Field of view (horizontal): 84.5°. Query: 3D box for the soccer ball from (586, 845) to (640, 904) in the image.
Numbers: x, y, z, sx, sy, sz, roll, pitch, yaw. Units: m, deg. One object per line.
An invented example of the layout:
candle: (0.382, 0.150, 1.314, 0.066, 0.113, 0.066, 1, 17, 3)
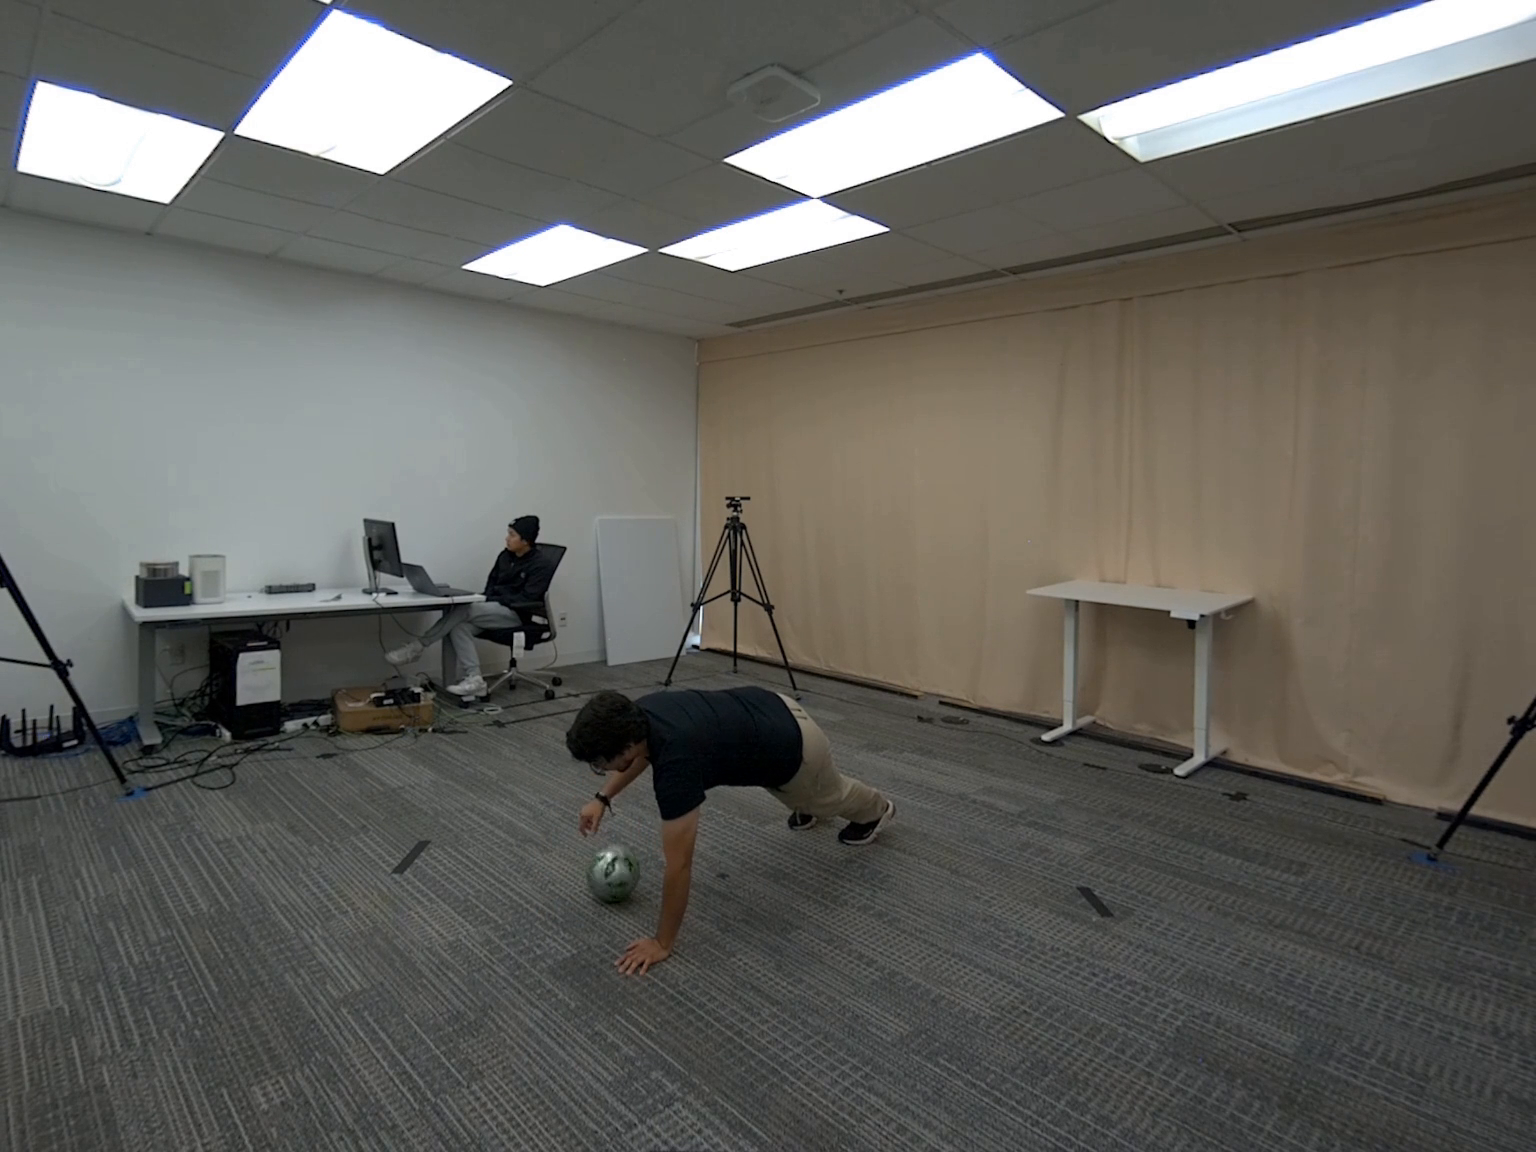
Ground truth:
soccer ball: (-0.540, 1.019, 2.907, 0.187, 0.187, 0.188, 1, 4, -1)
